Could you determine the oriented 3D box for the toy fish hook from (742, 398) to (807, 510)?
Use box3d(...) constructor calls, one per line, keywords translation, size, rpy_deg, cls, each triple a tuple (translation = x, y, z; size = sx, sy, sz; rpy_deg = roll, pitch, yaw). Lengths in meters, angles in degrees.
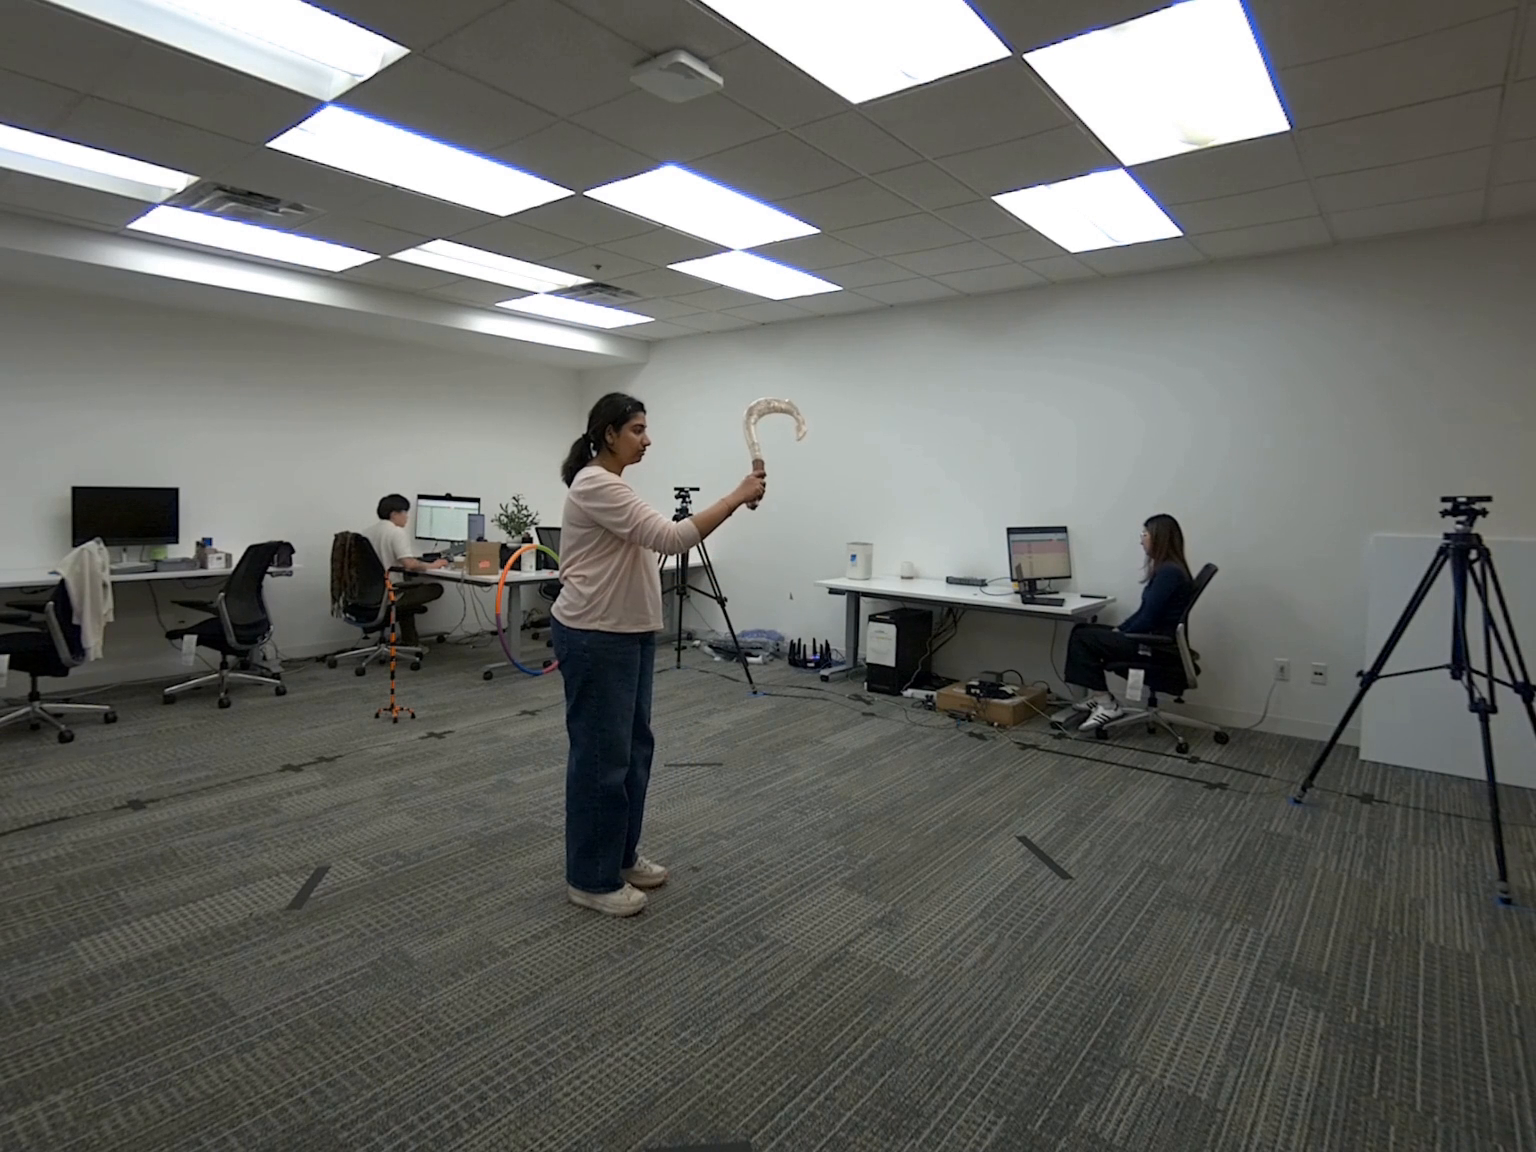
box3d(translation=(0.012, -0.415, 2.910), size=(0.226, 0.519, 0.047), rpy_deg=(1, -32, 5), cls="toy fish hook")
